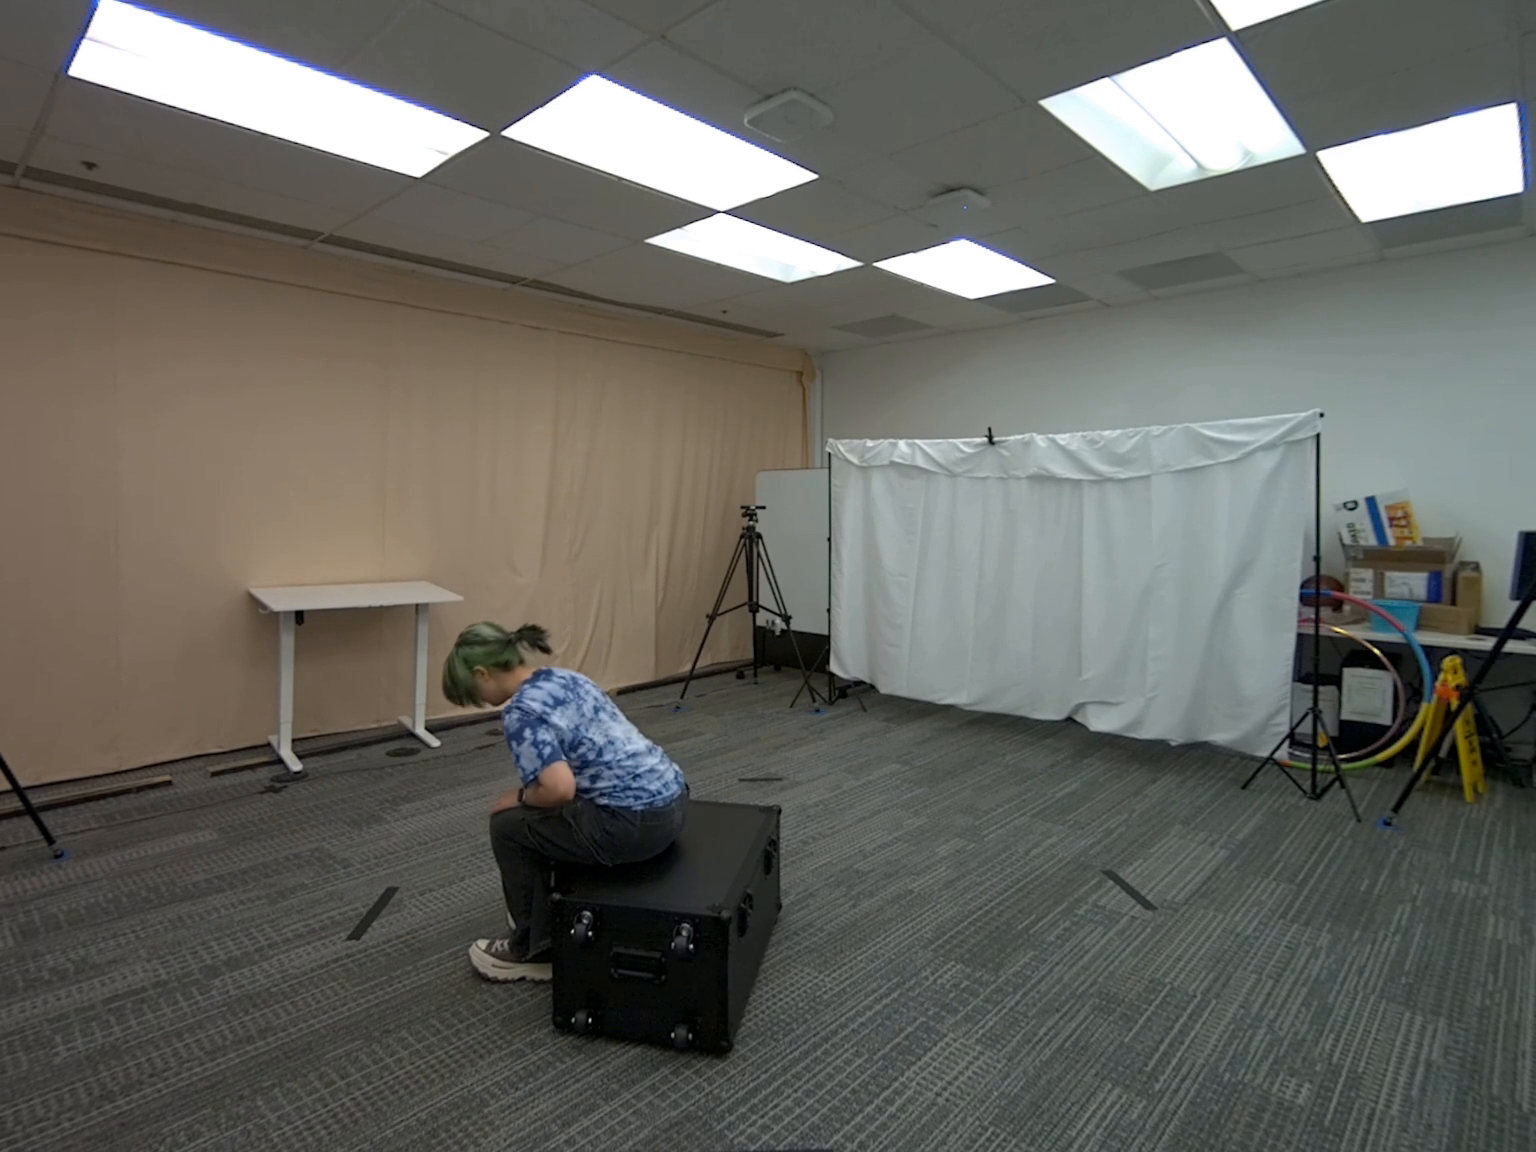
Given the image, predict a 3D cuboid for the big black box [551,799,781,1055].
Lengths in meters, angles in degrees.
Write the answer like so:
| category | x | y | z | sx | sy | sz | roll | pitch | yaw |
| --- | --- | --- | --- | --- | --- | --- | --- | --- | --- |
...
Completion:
| category | x | y | z | sx | sy | sz | roll | pitch | yaw |
| --- | --- | --- | --- | --- | --- | --- | --- | --- | --- |
| big black box | -0.264 | 0.997 | 2.494 | 0.528 | 0.395 | 0.852 | 0 | 4 | 11 |
